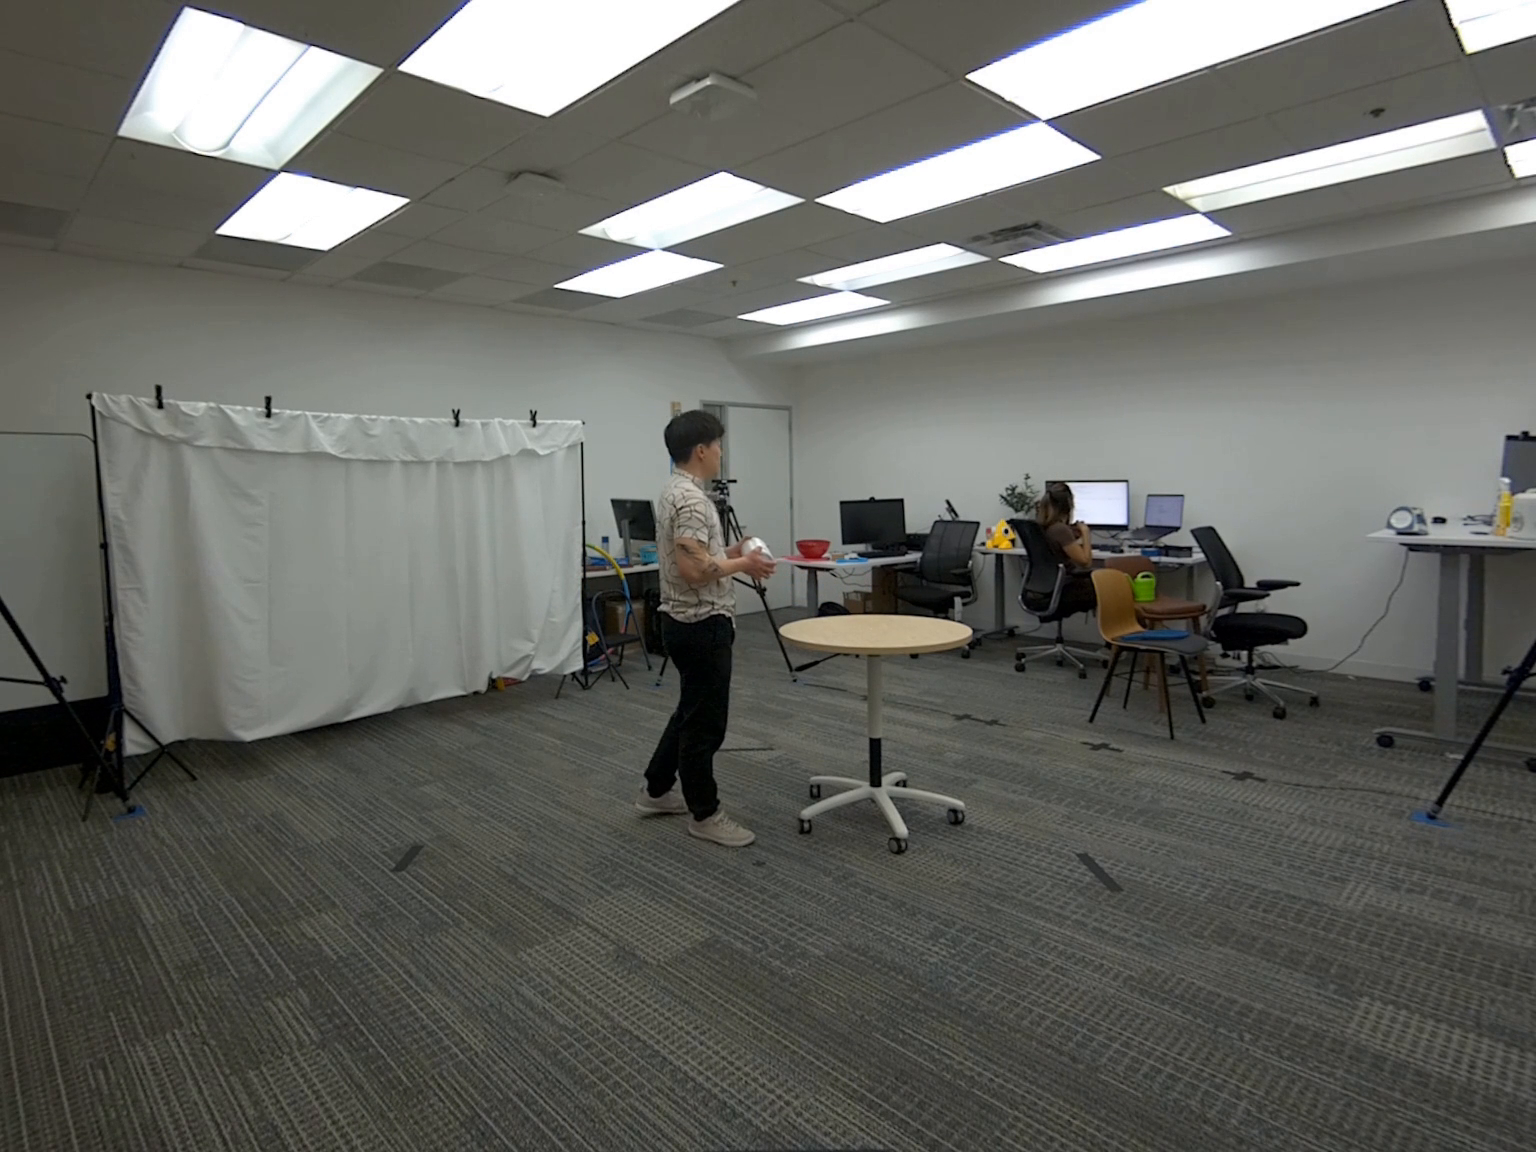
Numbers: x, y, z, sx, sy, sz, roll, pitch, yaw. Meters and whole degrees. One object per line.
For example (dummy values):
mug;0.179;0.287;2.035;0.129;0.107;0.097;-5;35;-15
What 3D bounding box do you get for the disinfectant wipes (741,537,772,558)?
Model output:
disinfectant wipes;-0.050;-0.075;3.377;0.117;0.116;0.221;-2;16;-5
